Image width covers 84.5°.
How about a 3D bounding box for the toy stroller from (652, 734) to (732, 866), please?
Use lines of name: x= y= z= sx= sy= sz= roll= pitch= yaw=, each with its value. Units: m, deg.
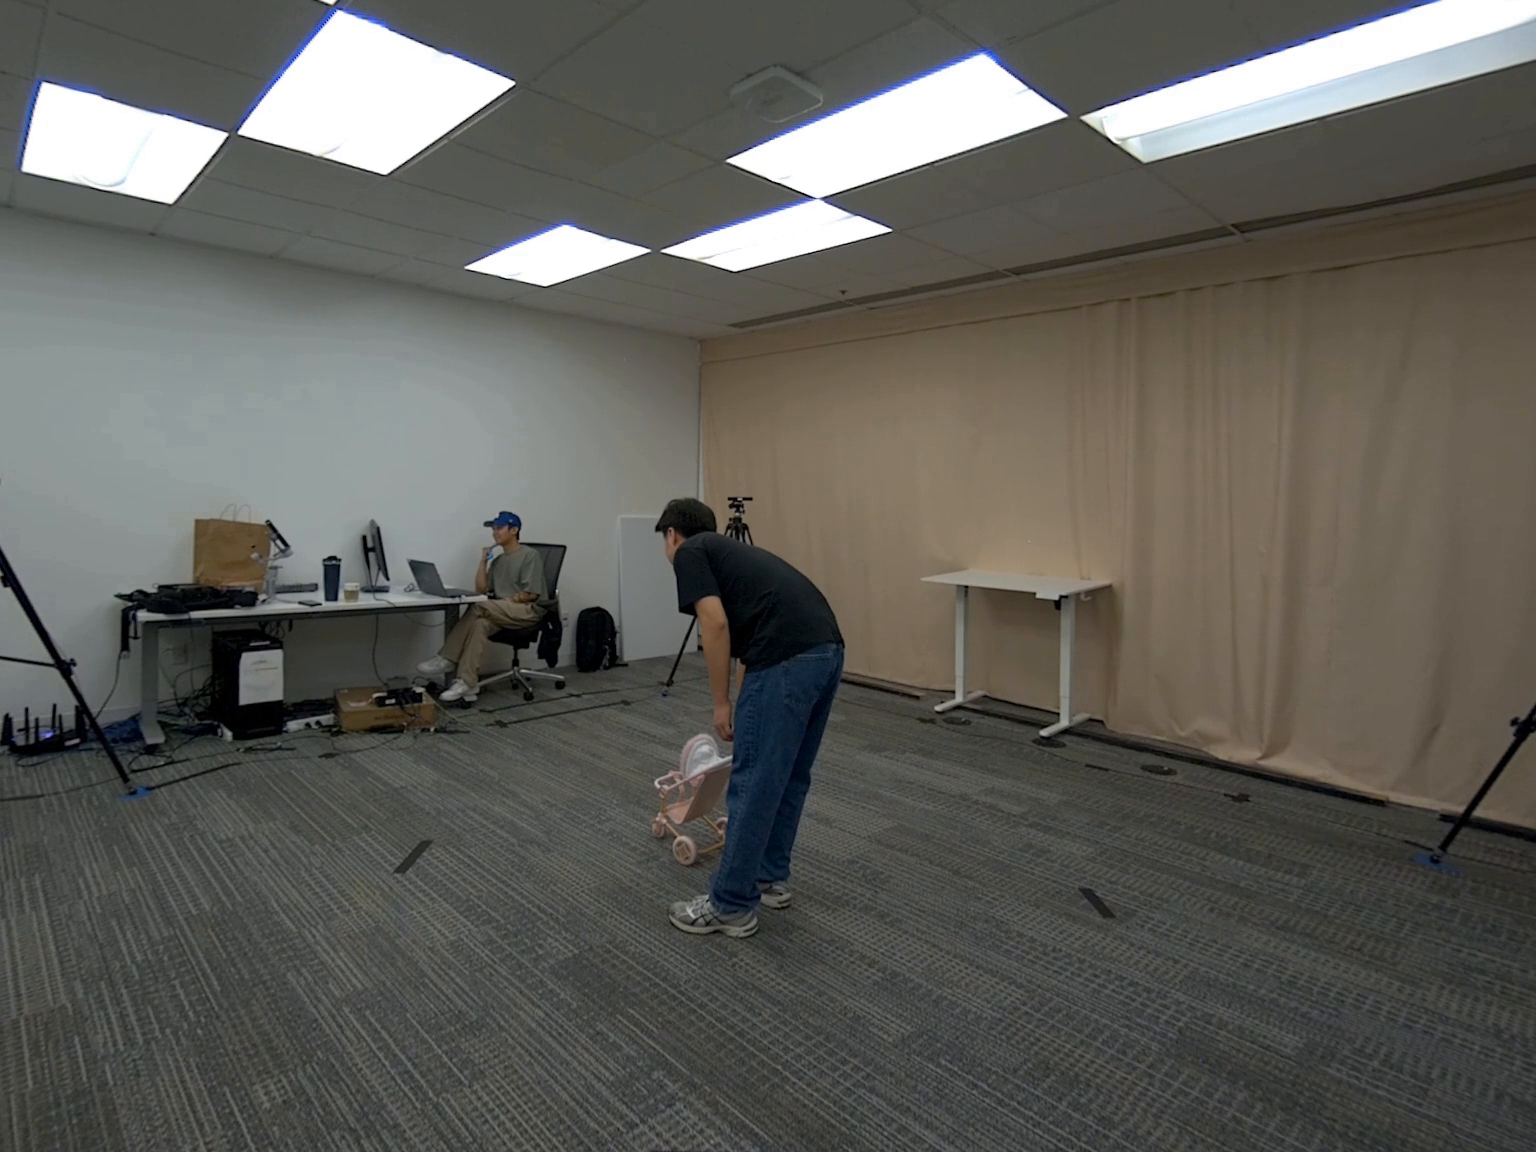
toy stroller: x=-0.294 y=0.858 z=3.320 sx=0.352 sy=0.531 sz=0.275 roll=25 pitch=17 yaw=39
